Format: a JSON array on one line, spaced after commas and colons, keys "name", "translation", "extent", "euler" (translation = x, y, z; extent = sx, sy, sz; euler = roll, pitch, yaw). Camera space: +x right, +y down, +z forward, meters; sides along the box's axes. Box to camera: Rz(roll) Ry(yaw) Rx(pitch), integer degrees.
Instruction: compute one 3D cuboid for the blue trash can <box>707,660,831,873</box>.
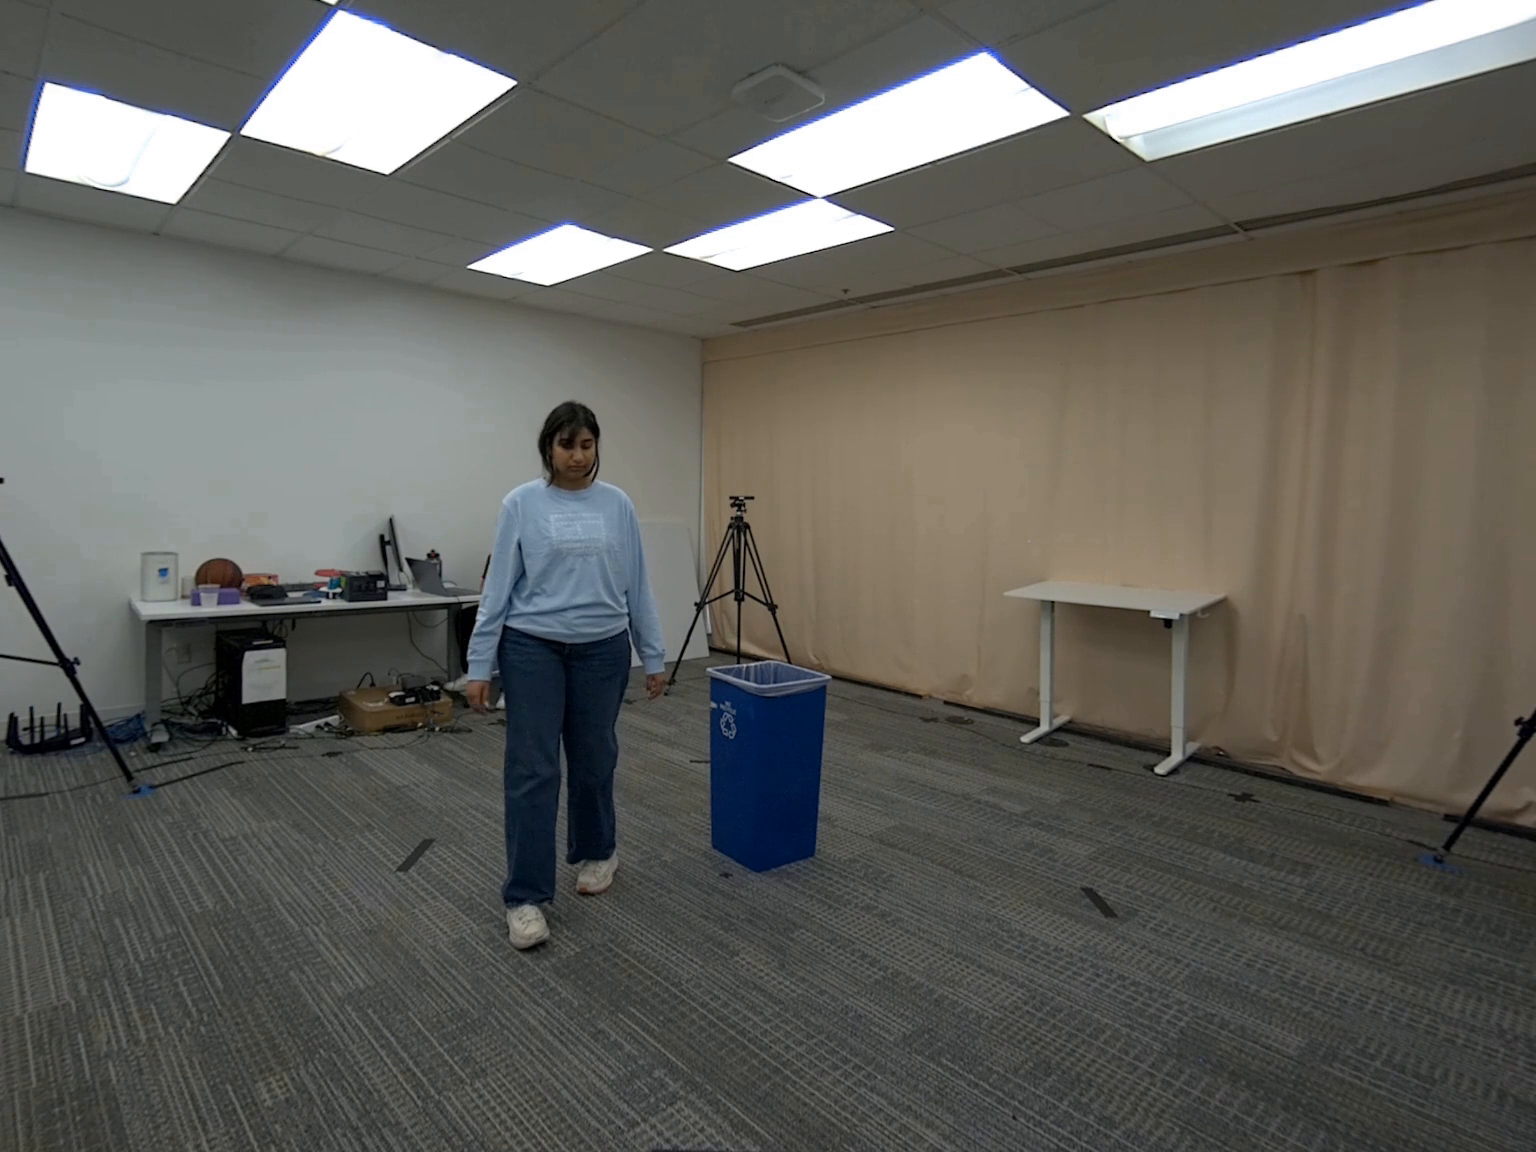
[{"name": "blue trash can", "translation": [-0.012, 0.732, 3.307], "extent": [0.370, 0.712, 0.383], "euler": [-2, 4, -37]}]
